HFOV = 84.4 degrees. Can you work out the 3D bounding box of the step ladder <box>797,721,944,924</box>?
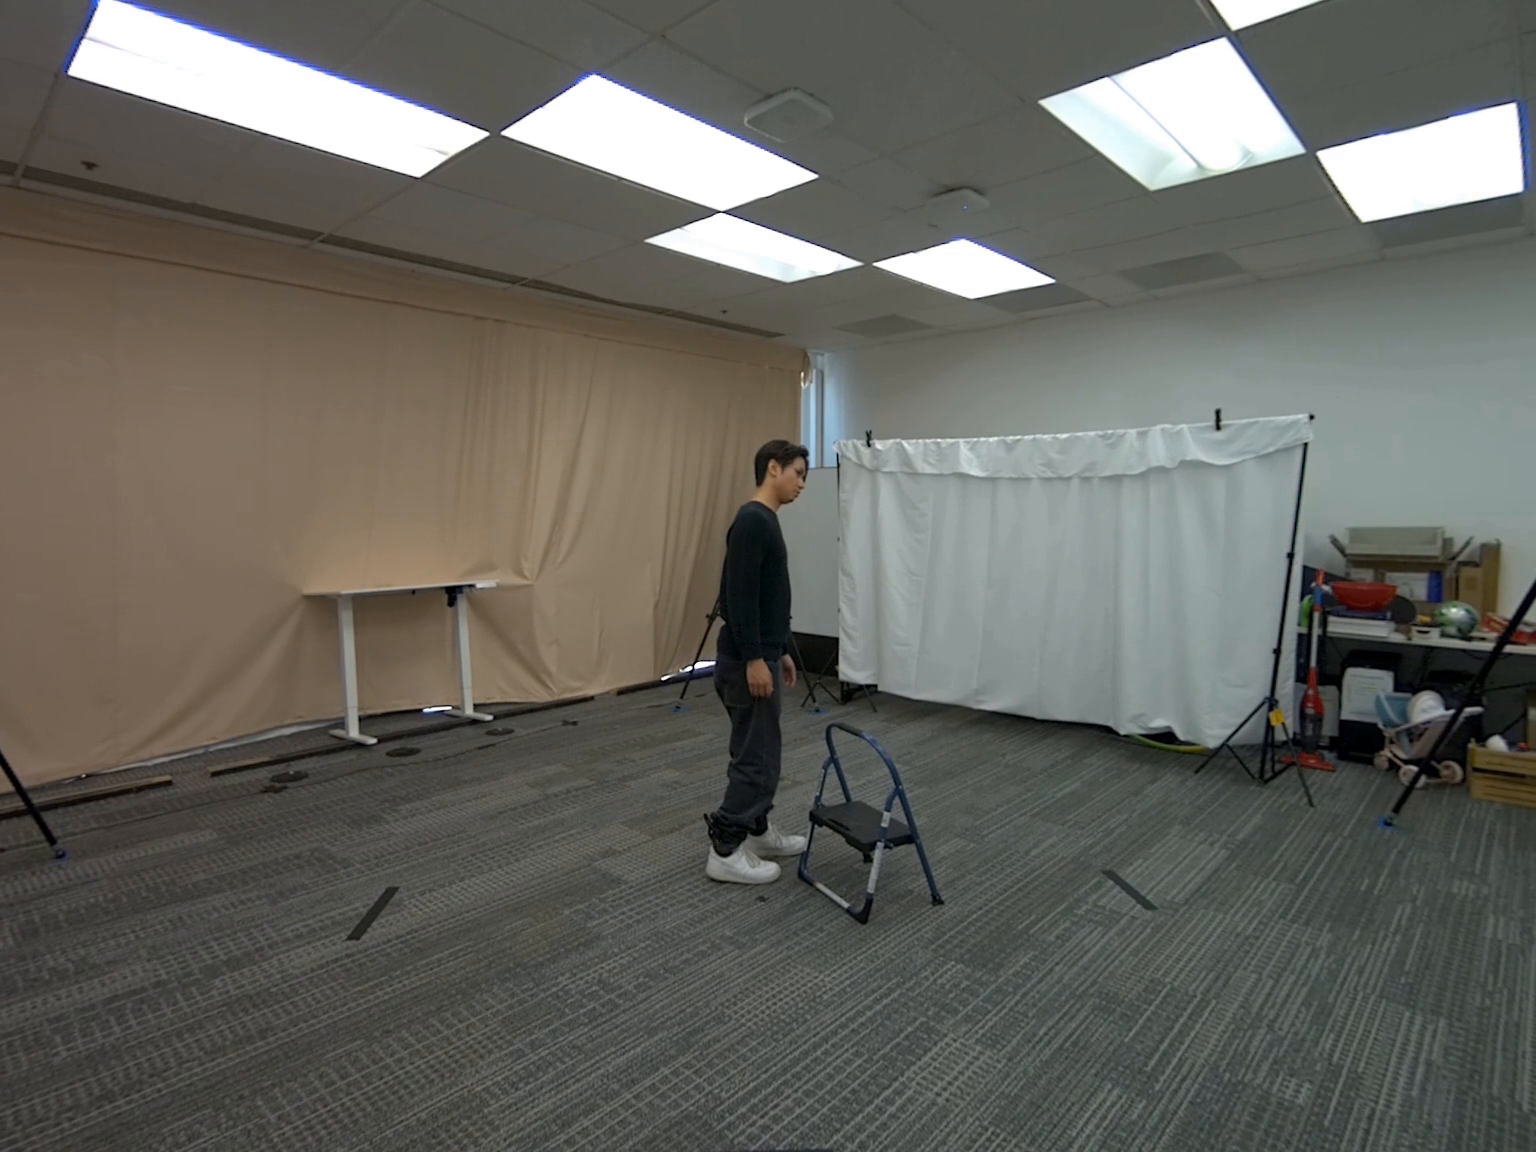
[{"bbox_3d":[0.367,0.834,3.033,0.340,0.605,0.443,-2,4,-29],"label":"step ladder"}]
